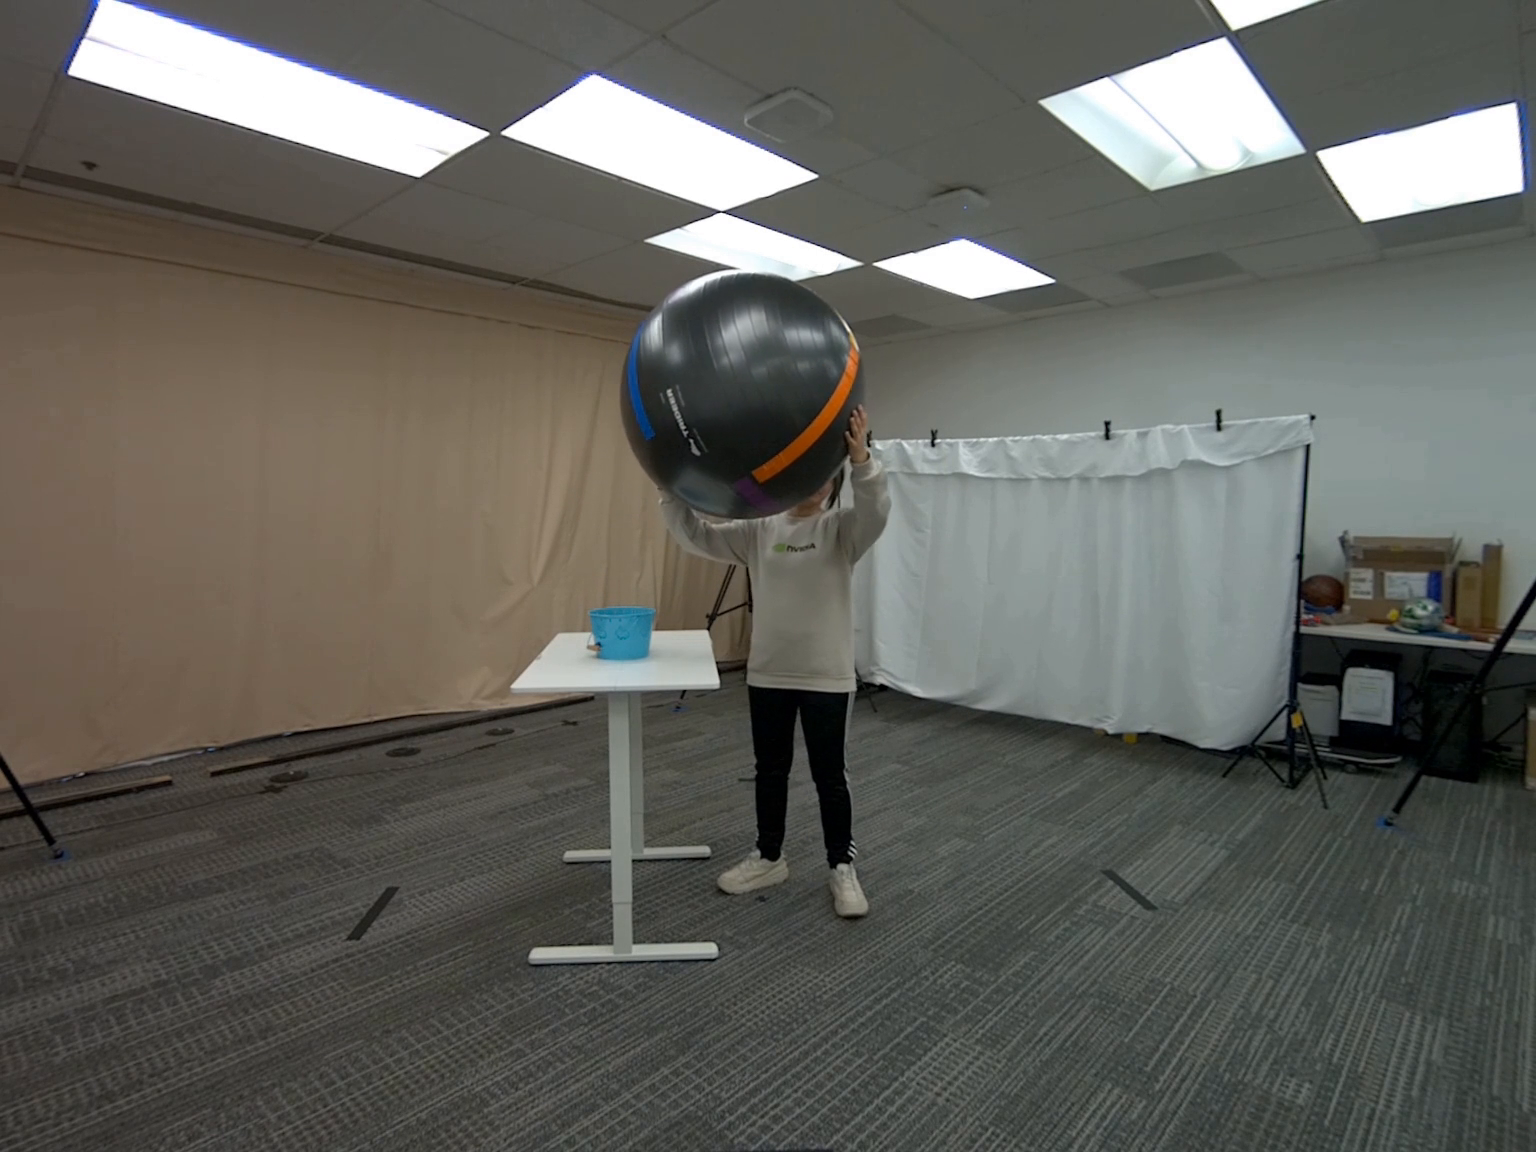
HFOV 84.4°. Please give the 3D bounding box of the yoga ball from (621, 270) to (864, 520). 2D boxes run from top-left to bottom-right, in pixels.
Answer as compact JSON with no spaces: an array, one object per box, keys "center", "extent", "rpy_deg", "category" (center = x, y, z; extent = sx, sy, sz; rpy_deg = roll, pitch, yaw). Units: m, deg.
[{"center":[-0.076,-0.553,2.613],"extent":[0.757,0.756,0.760],"rpy_deg":[0,4,-2],"category":"yoga ball"}]
